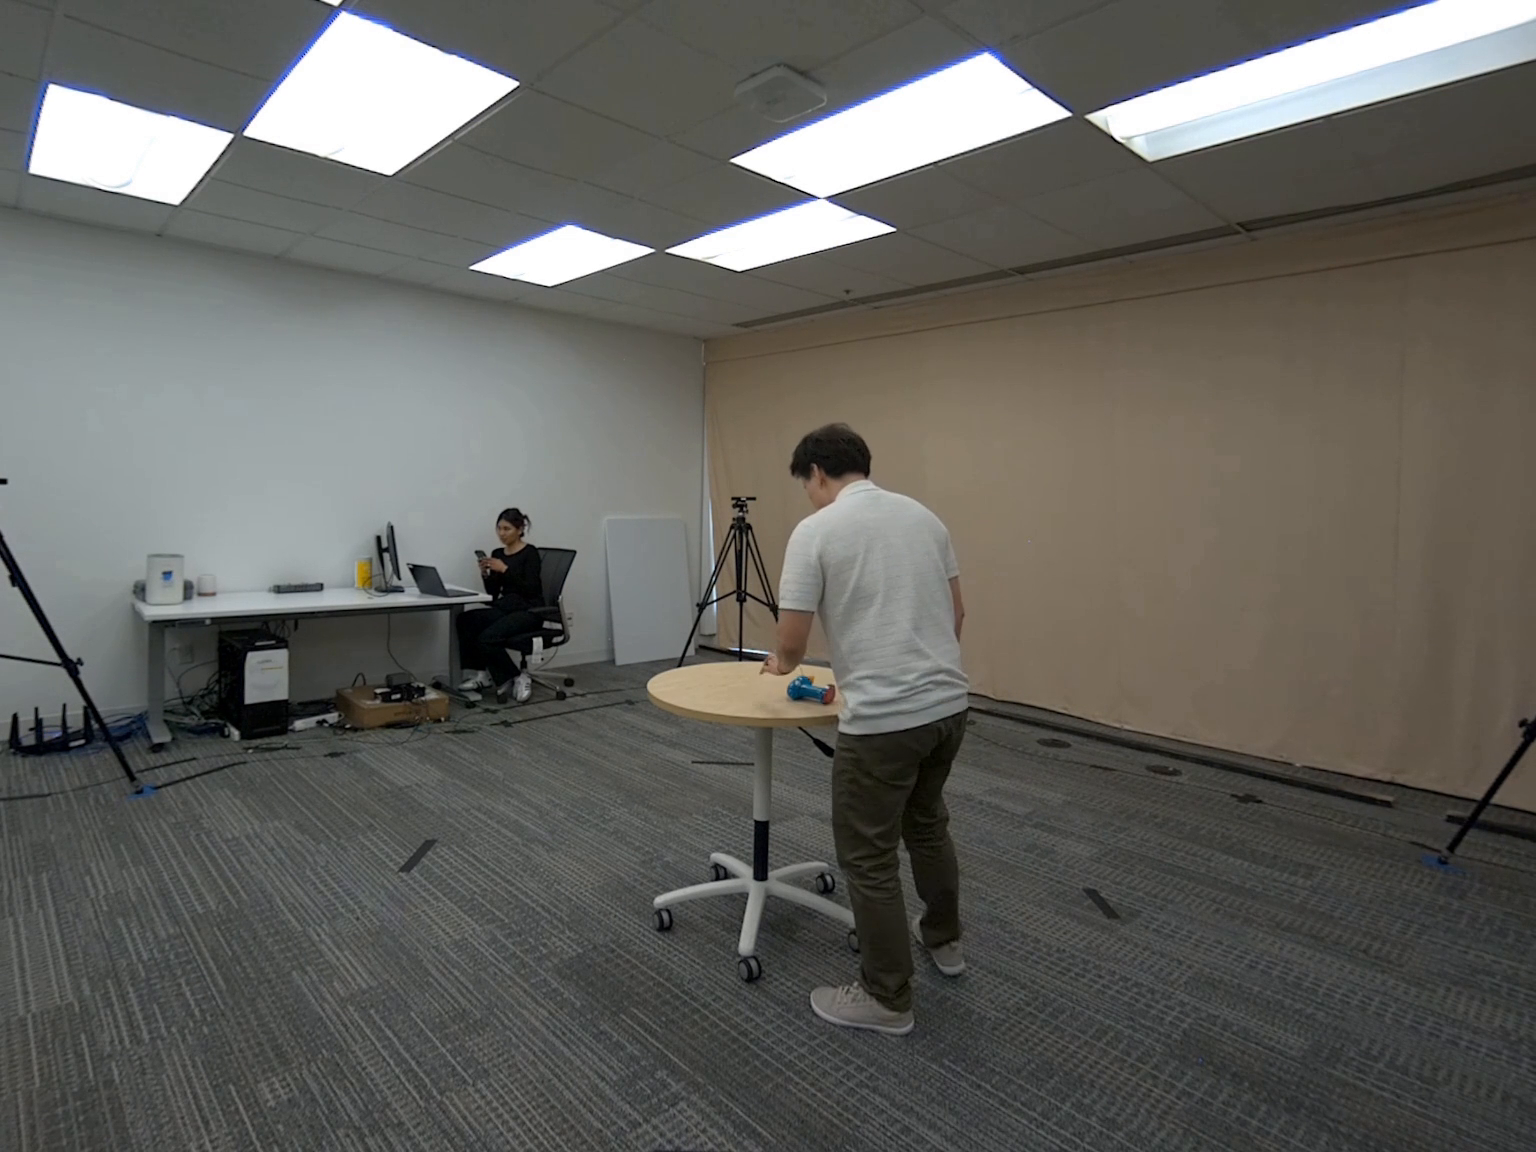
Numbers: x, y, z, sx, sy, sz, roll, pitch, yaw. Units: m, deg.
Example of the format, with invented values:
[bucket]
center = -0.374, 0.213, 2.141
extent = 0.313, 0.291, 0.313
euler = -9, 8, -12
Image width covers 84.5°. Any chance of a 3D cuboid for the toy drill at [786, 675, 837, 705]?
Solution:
[toy drill]
center = 0.143, 0.350, 2.595
extent = 0.149, 0.061, 0.167
euler = 5, 12, 26
